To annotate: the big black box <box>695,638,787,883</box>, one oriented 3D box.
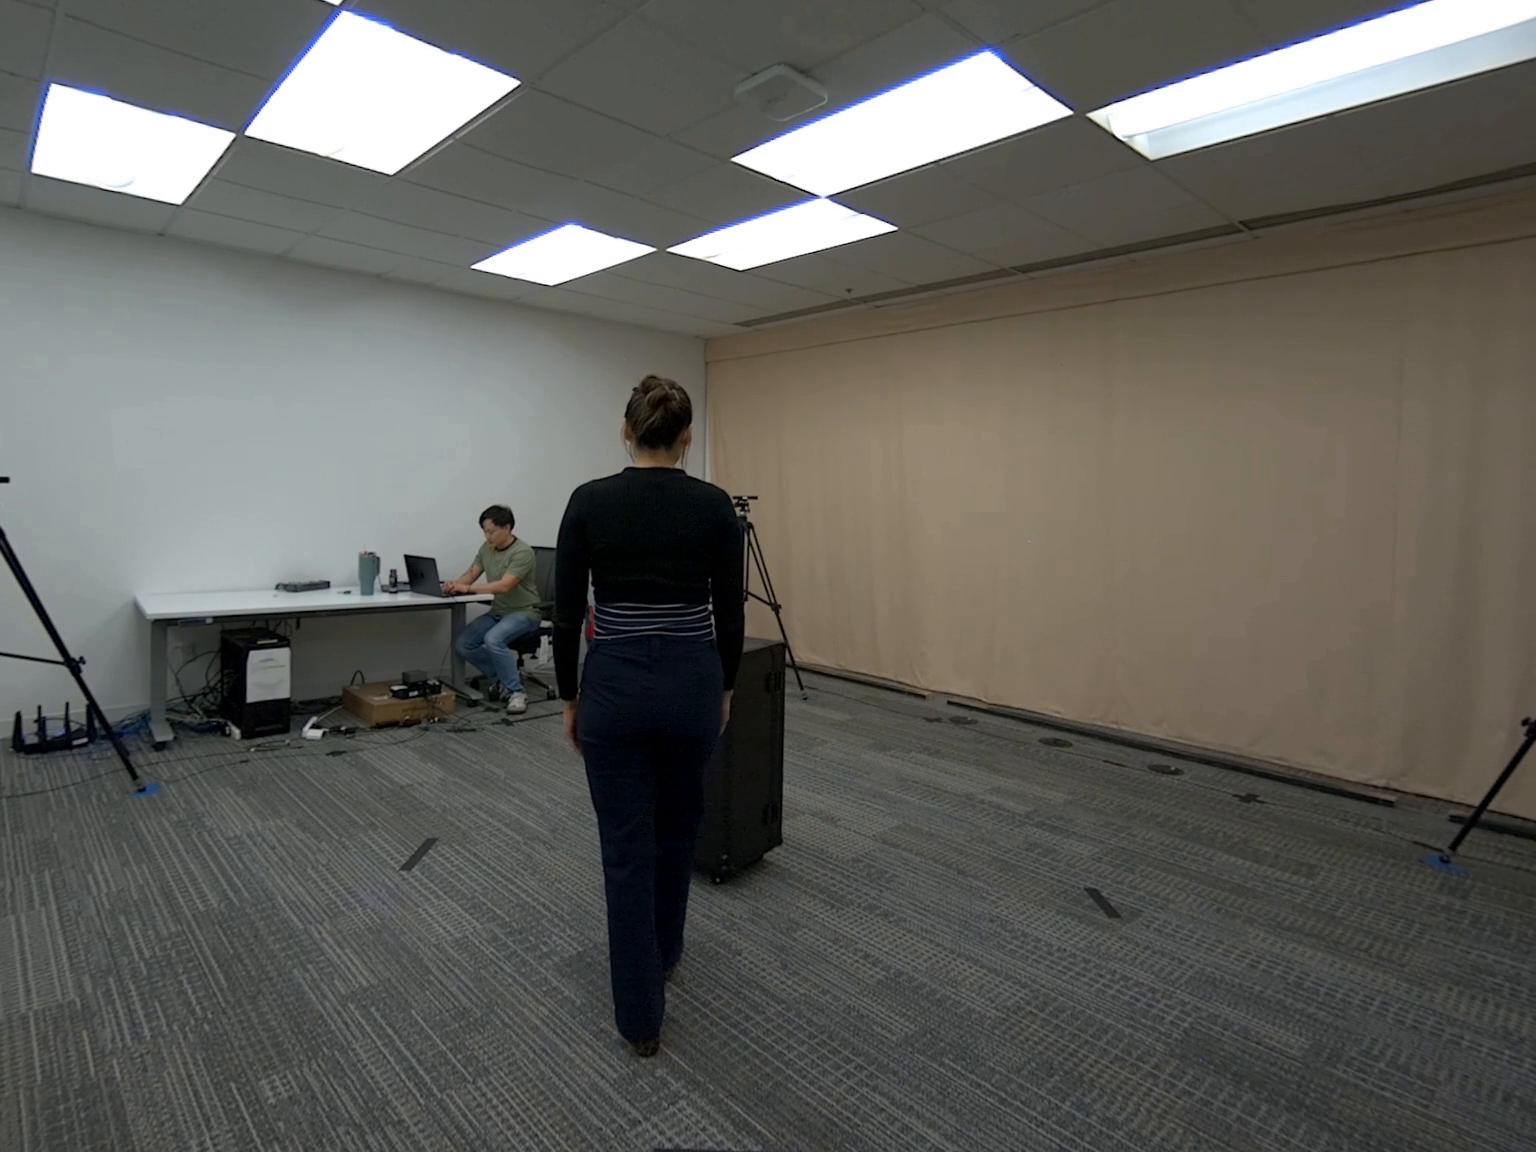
[{"bbox_3d":[-0.238,0.673,3.184,0.534,0.859,0.388,4,5,35],"label":"big black box"}]
